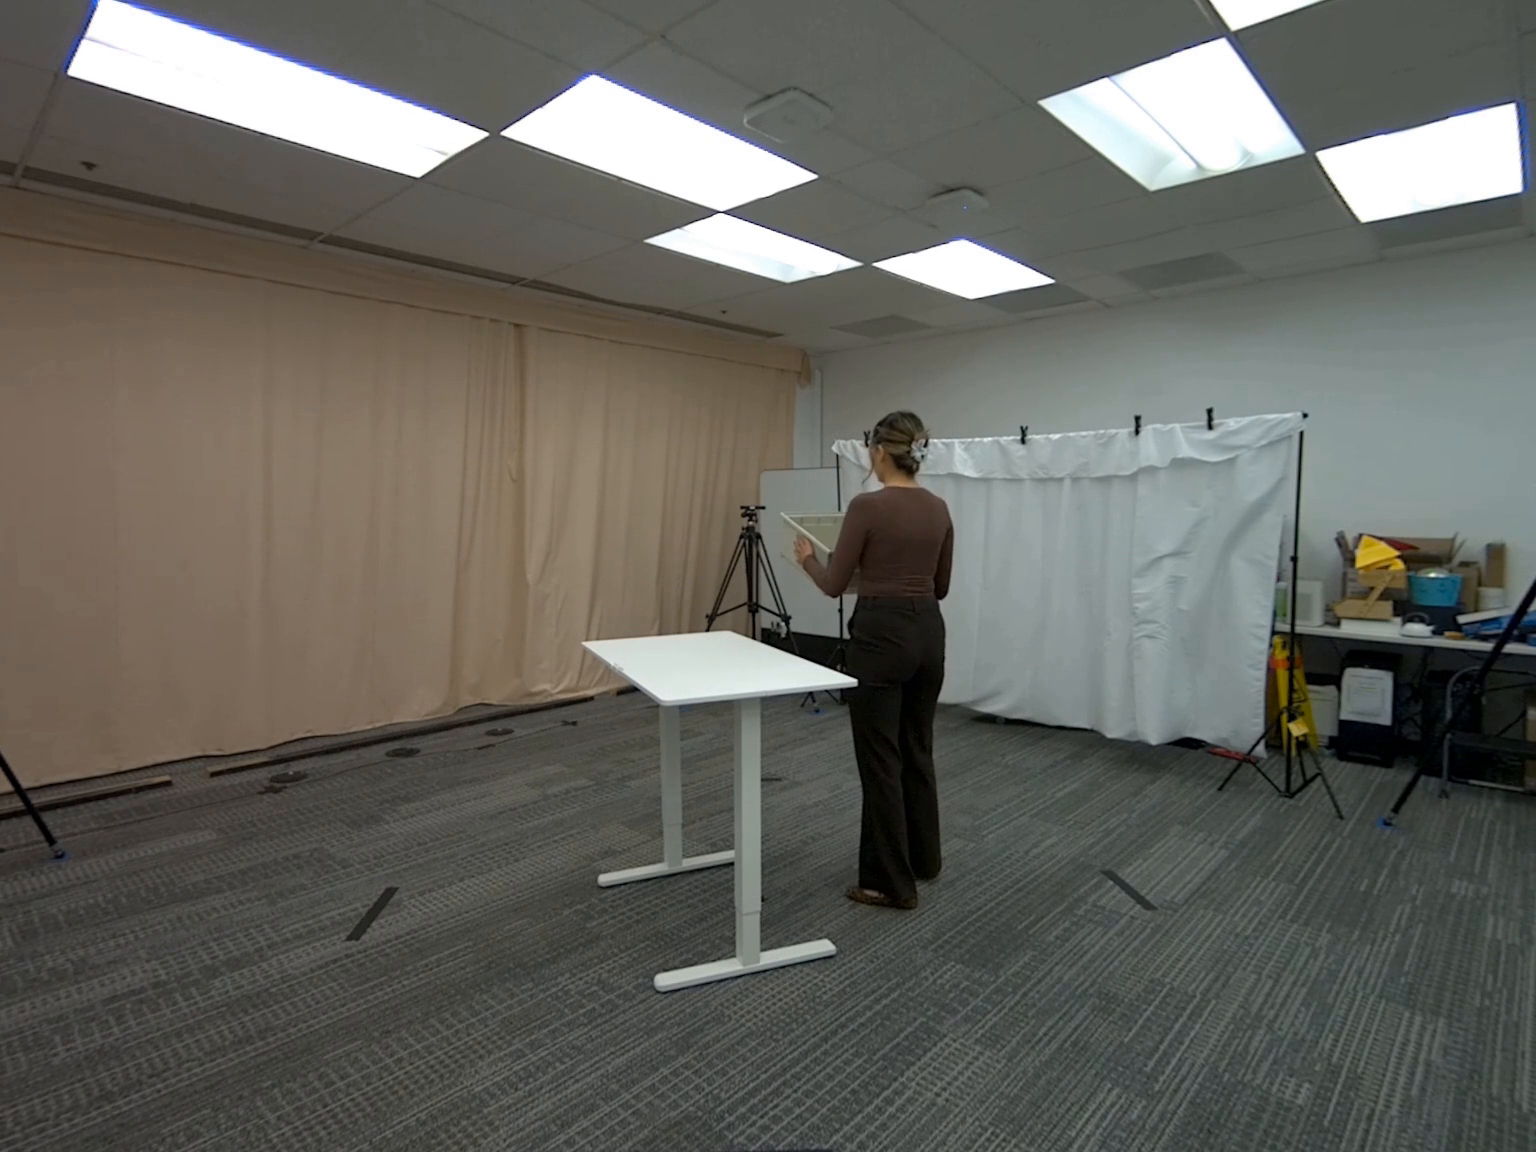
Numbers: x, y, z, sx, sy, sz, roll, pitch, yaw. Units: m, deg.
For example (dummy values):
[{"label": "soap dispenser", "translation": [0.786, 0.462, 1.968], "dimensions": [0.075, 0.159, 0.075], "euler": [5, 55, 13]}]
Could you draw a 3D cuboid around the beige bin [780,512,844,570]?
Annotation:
[{"label": "beige bin", "translation": [0.302, -0.099, 3.321], "dimensions": [0.369, 0.187, 0.436], "euler": [-4, 24, -23]}]
